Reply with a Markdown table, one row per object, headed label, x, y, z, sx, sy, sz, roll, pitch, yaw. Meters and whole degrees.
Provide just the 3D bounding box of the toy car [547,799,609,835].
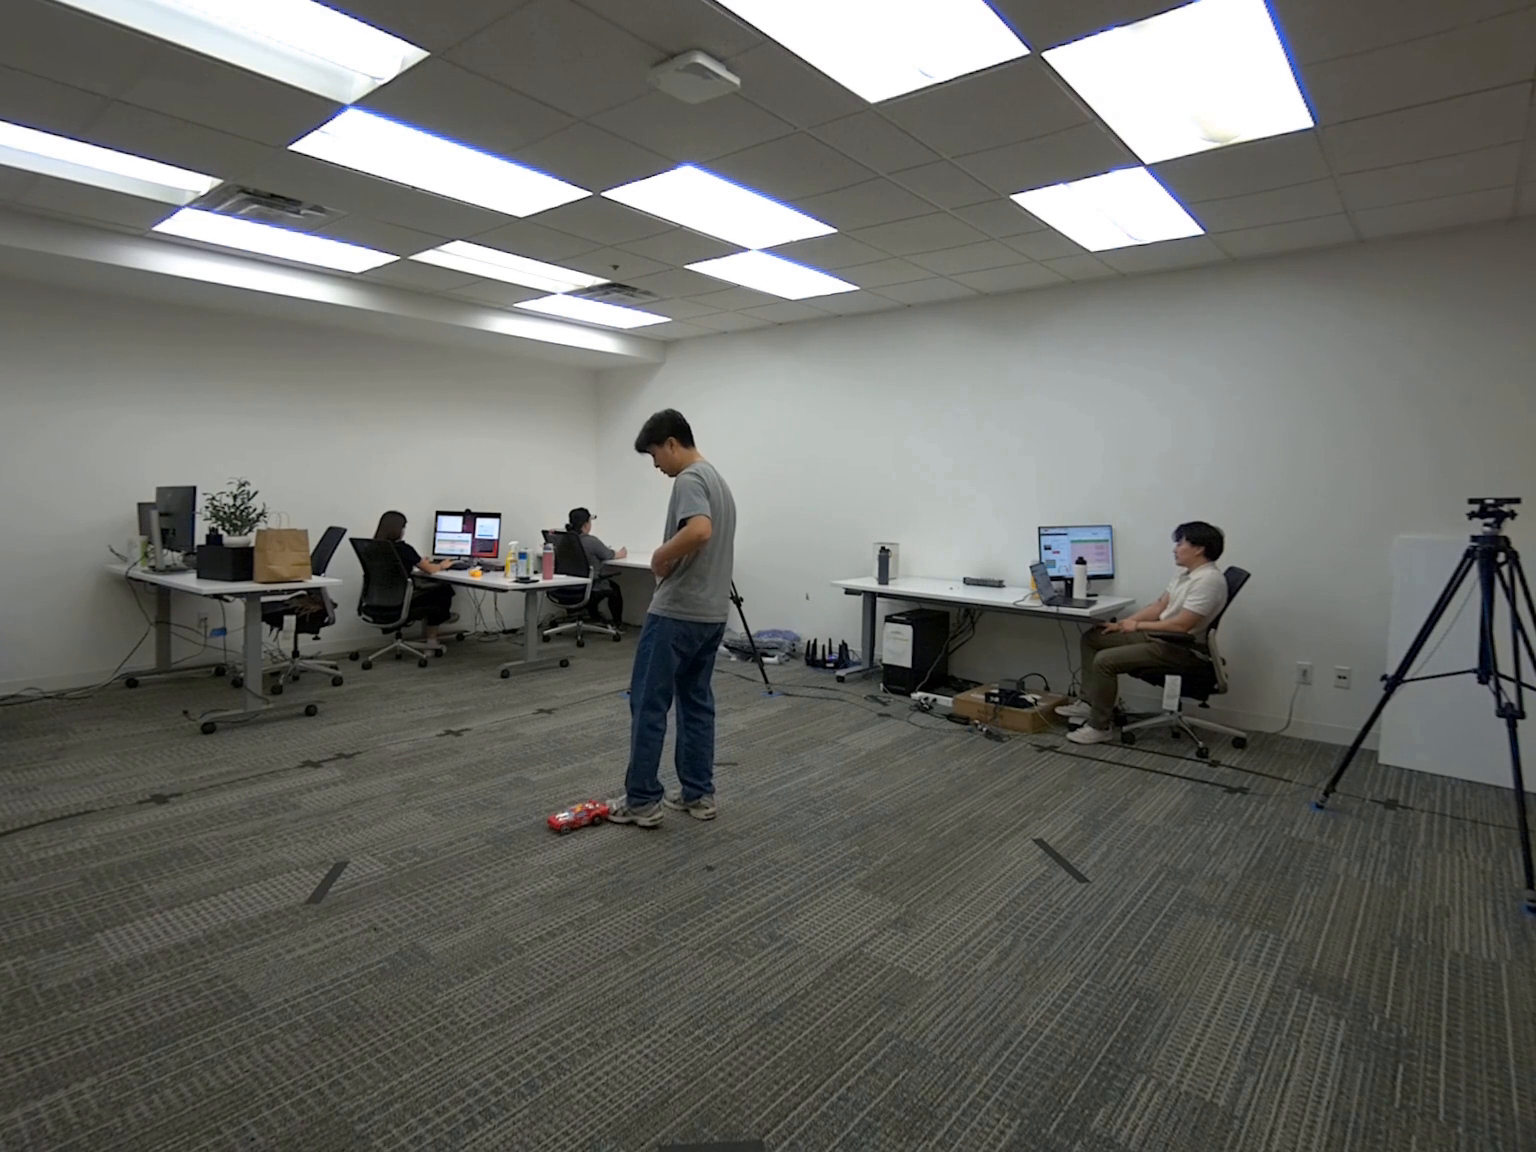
| label | x | y | z | sx | sy | sz | roll | pitch | yaw |
| --- | --- | --- | --- | --- | --- | --- | --- | --- | --- |
| toy car | -0.788 | 0.988 | 3.494 | 0.249 | 0.082 | 0.134 | -18 | 14 | -36 |
